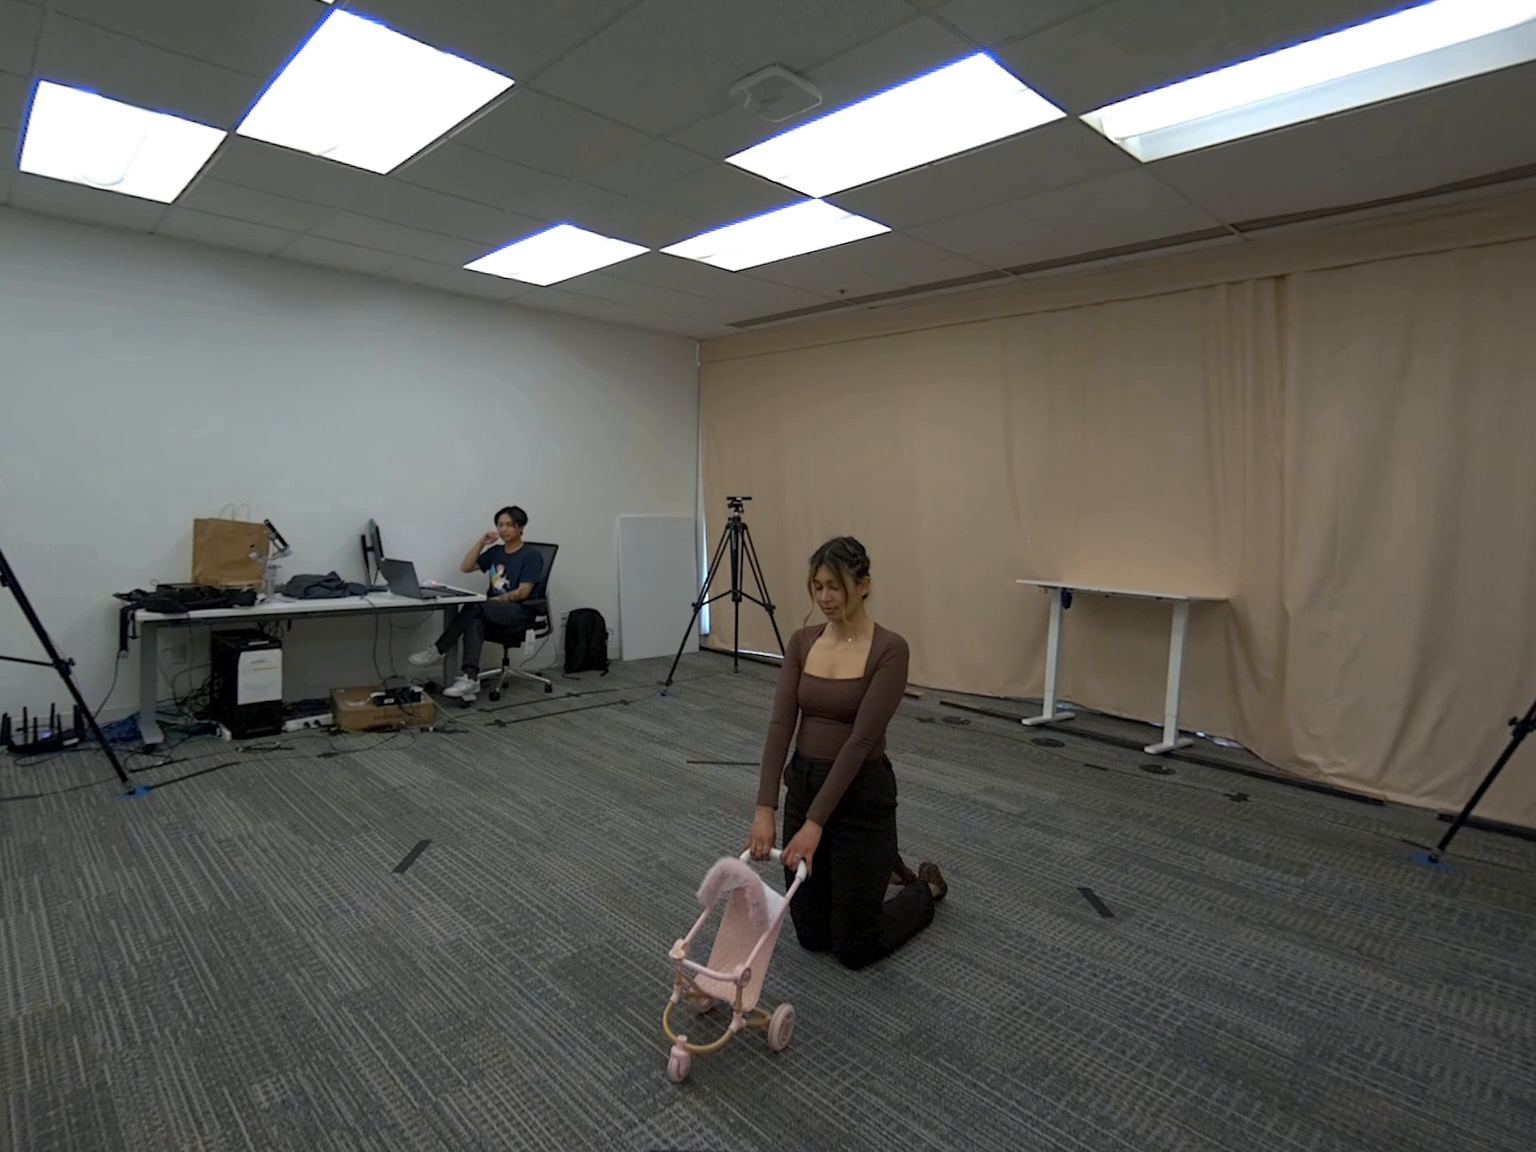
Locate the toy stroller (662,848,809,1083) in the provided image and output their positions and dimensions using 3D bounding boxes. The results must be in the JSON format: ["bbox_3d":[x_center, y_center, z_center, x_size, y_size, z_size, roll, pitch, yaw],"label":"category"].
[{"bbox_3d":[-0.105,0.973,2.150,0.288,0.538,0.331,4,-13,40],"label":"toy stroller"}]
